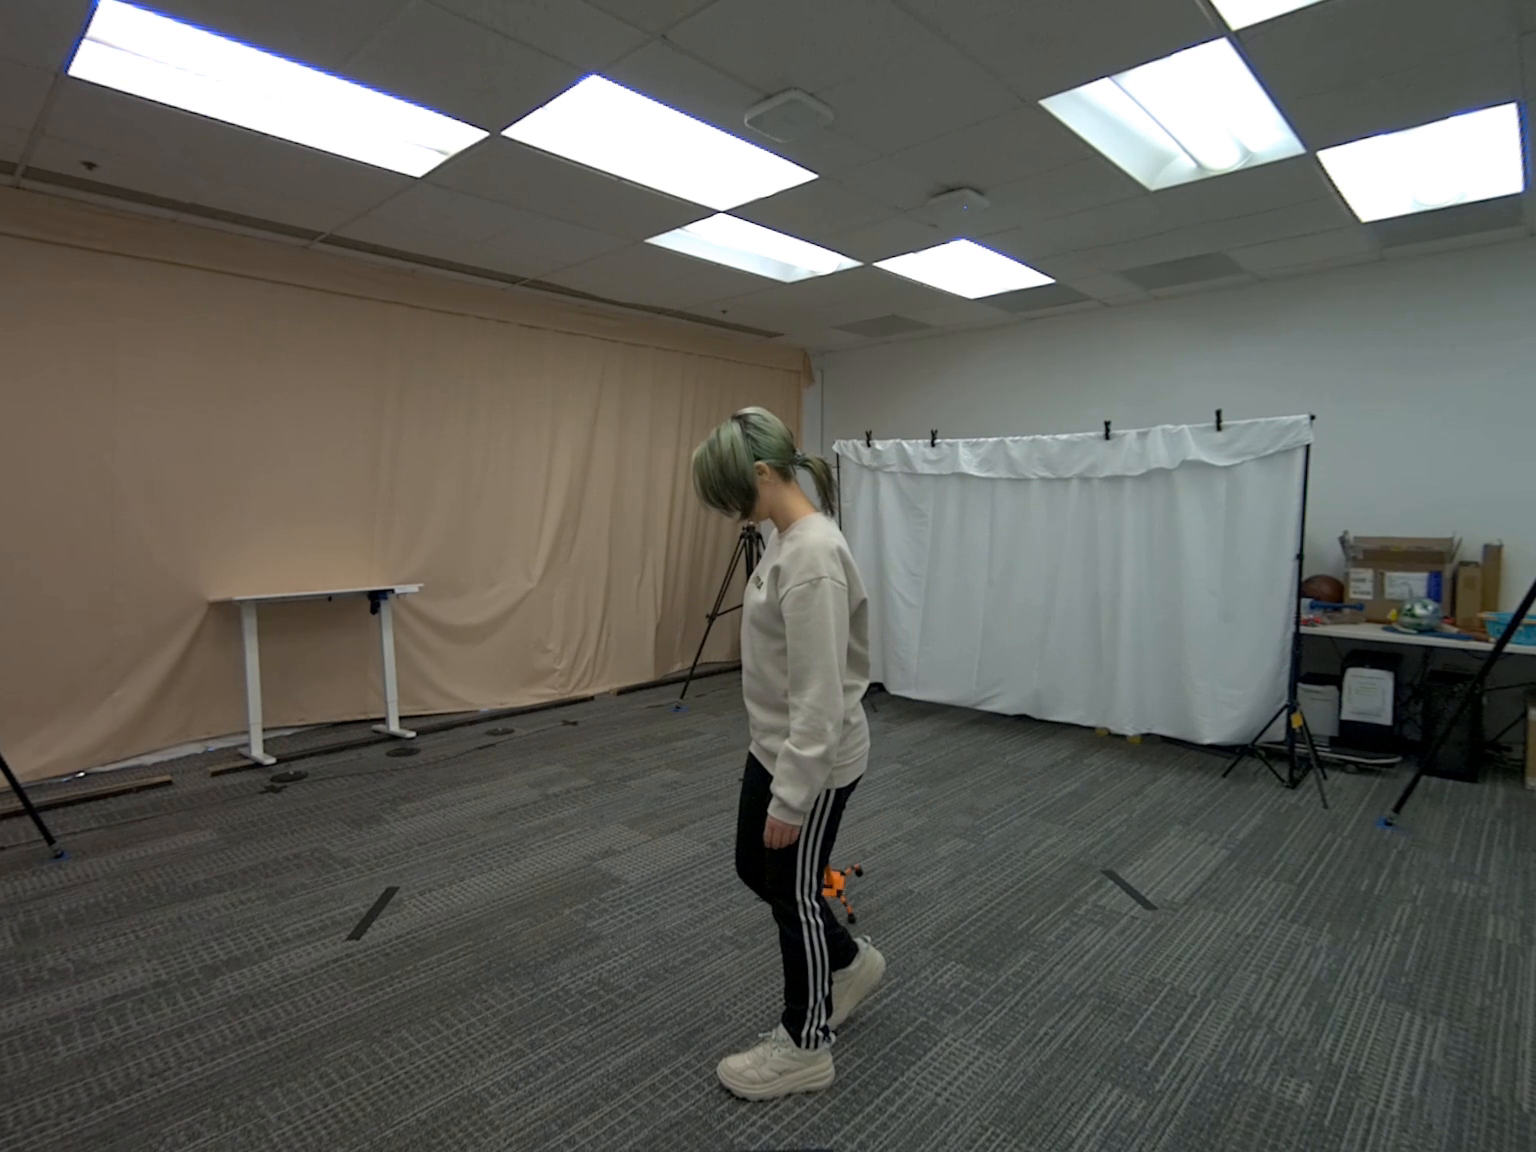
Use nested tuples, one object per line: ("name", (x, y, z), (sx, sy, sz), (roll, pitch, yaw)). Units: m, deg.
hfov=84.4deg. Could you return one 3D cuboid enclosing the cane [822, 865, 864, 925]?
("cane", (0.182, 0.742, 2.651), (0.154, 0.887, 0.207), (1, 36, 17))
